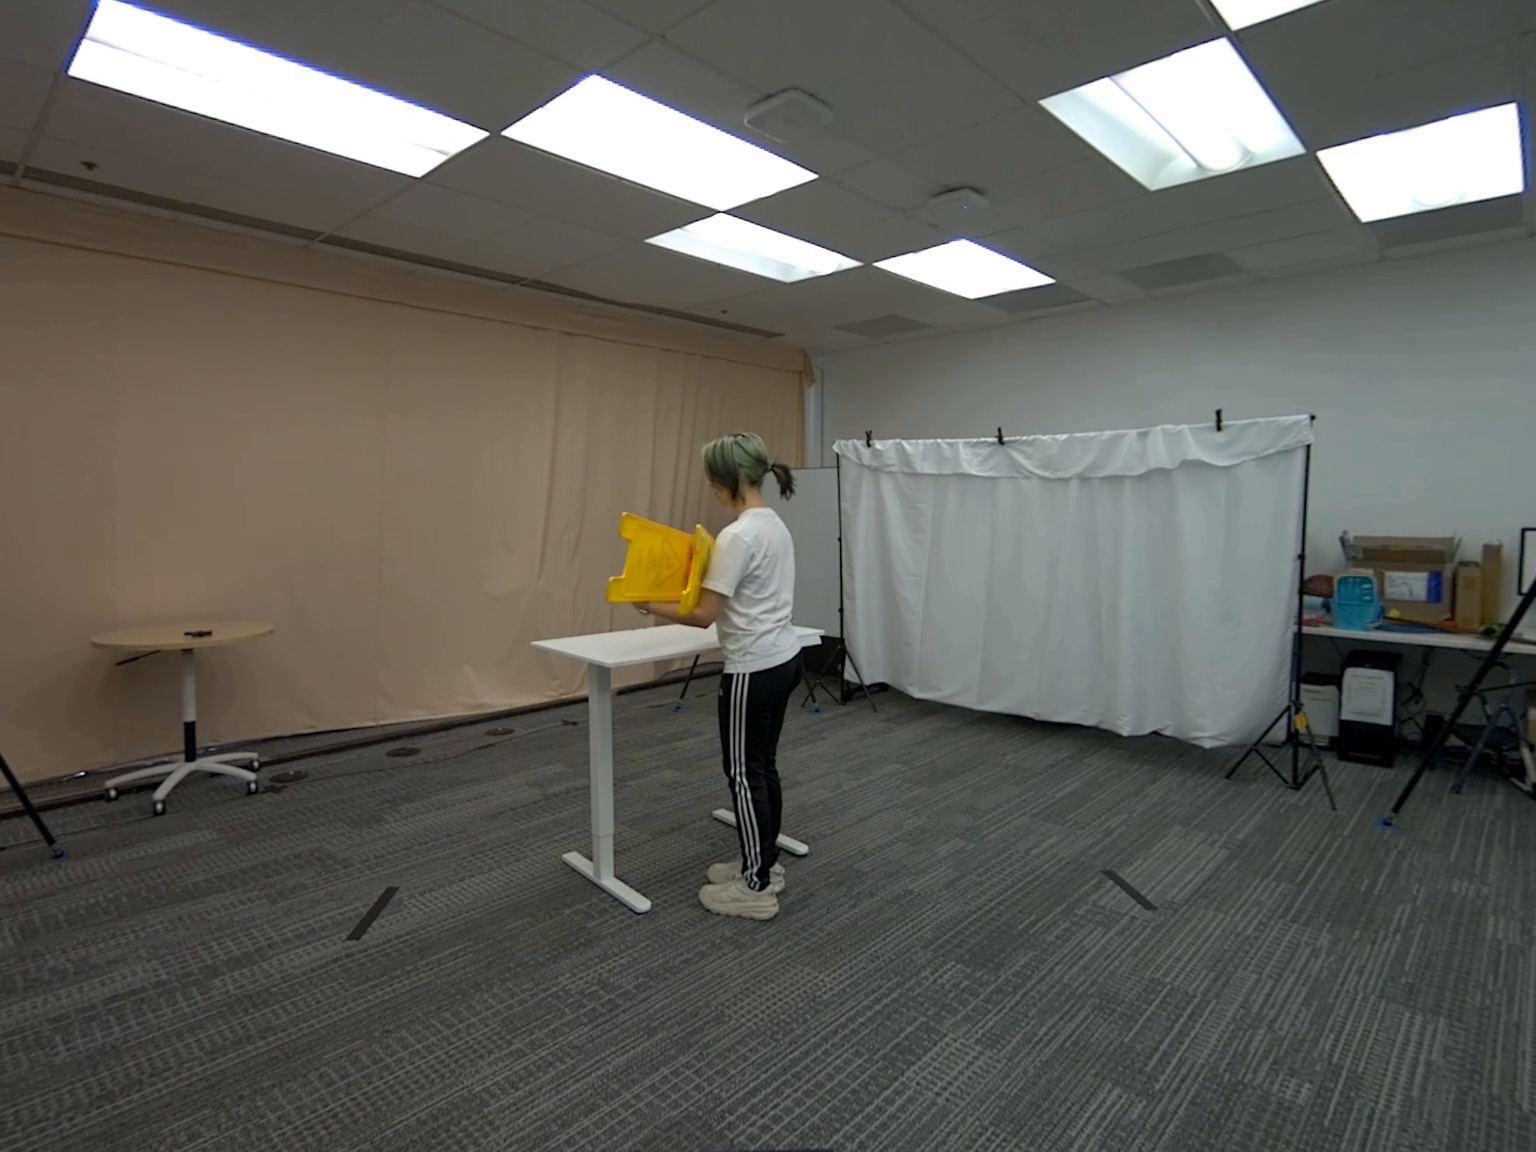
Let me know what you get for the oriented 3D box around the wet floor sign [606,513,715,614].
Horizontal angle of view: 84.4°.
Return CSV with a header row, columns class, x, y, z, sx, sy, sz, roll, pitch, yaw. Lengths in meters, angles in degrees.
class,x,y,z,sx,sy,sz,roll,pitch,yaw
wet floor sign,-0.280,-0.020,2.851,0.294,0.282,0.636,11,0,12
